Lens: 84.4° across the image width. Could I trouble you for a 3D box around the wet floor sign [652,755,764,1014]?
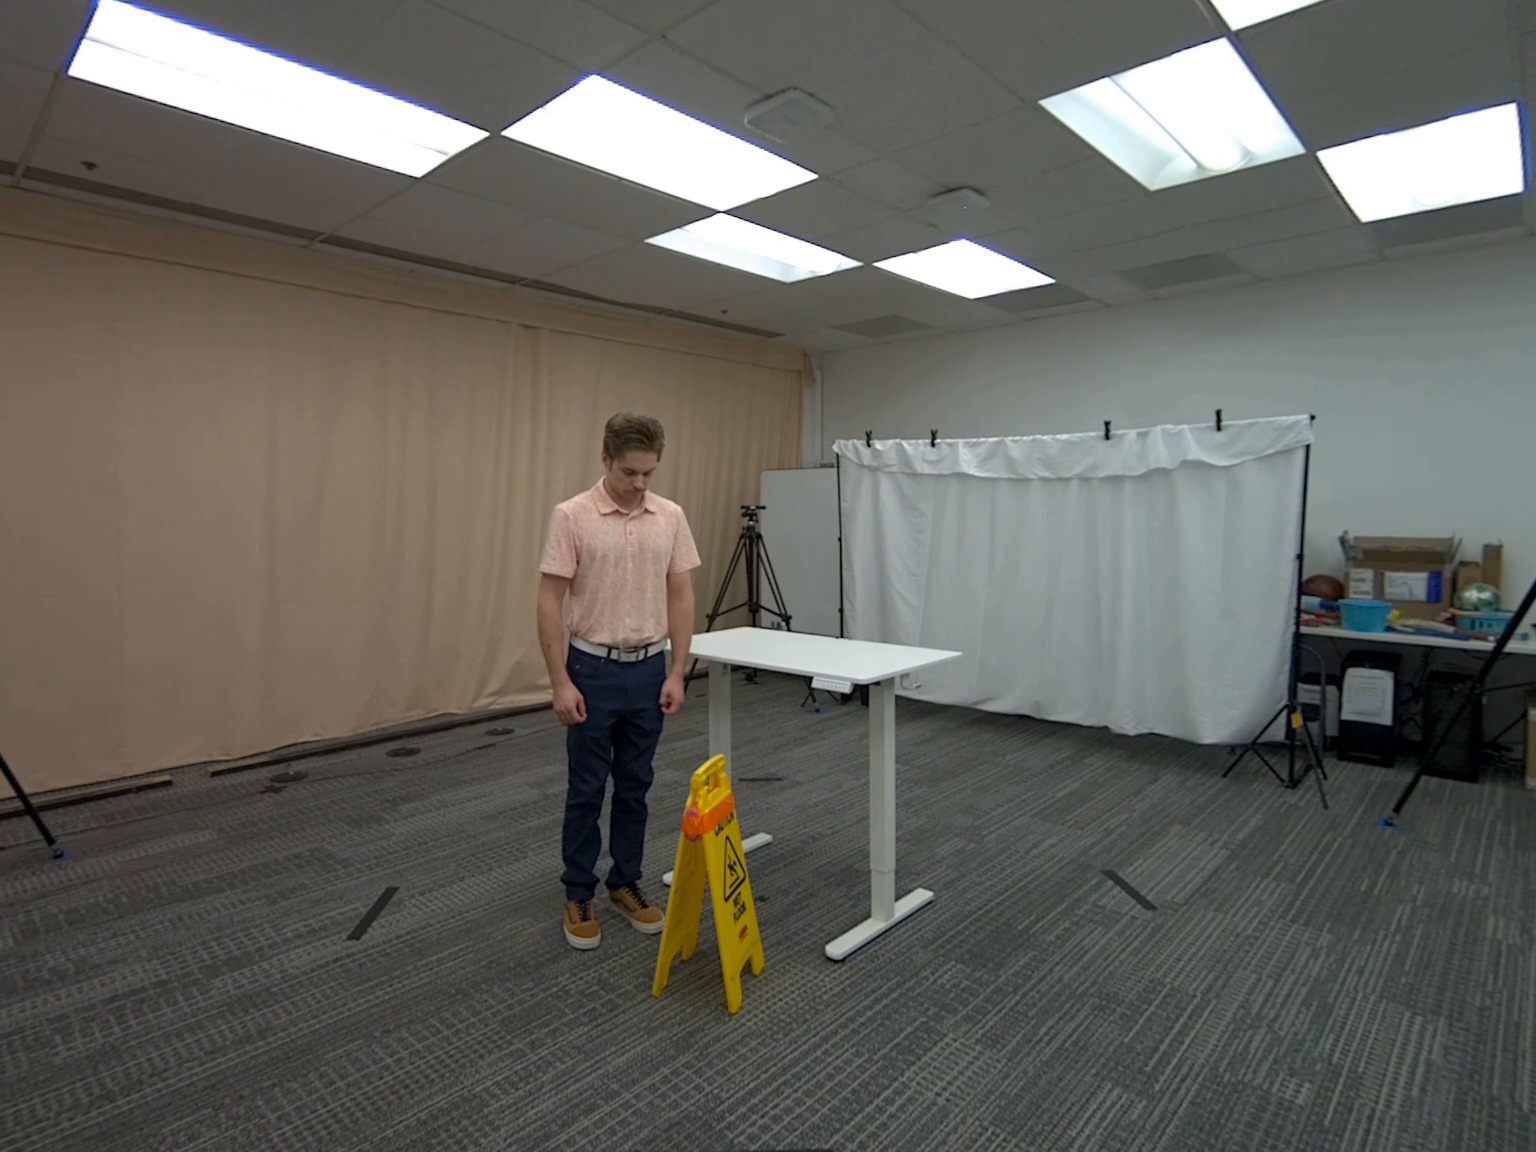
[{"bbox_3d":[-0.170,0.865,2.454,0.295,0.645,0.277,0,2,18],"label":"wet floor sign"}]
